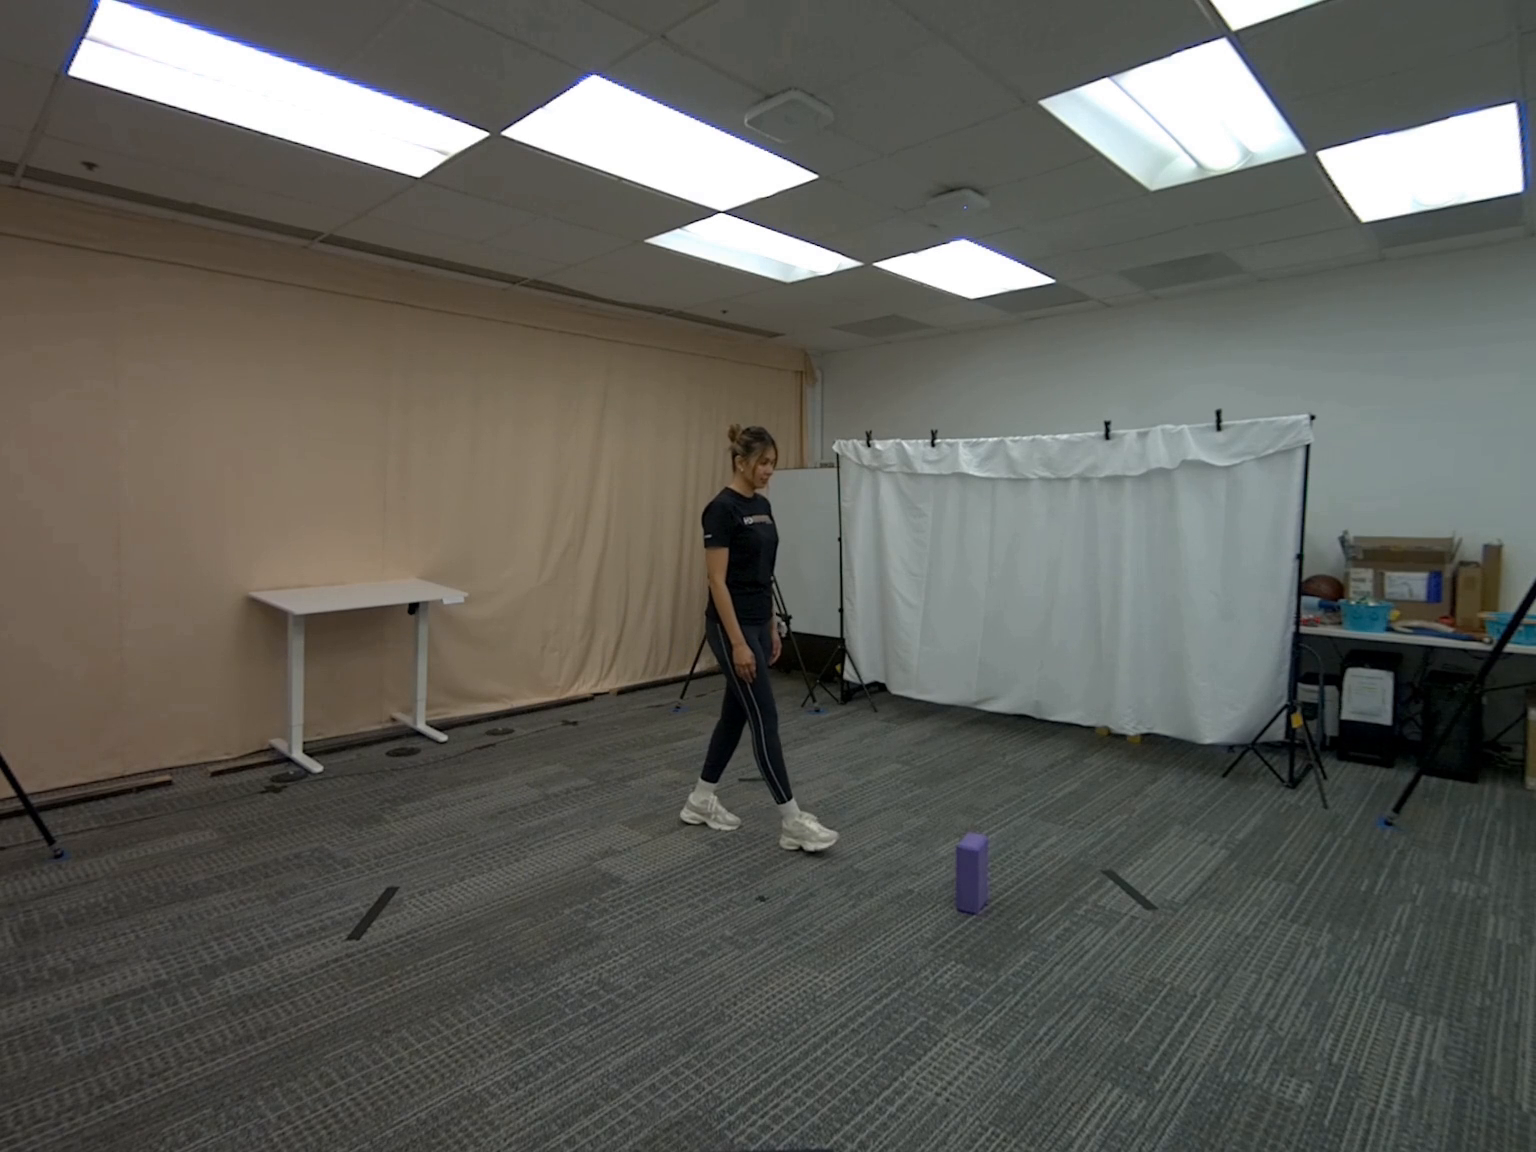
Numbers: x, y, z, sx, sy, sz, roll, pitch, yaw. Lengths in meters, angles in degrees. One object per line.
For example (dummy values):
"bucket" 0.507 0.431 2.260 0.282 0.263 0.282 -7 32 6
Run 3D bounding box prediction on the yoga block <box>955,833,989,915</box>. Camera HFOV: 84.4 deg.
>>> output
"yoga block" 0.715 1.030 2.921 0.078 0.229 0.145 0 3 28
